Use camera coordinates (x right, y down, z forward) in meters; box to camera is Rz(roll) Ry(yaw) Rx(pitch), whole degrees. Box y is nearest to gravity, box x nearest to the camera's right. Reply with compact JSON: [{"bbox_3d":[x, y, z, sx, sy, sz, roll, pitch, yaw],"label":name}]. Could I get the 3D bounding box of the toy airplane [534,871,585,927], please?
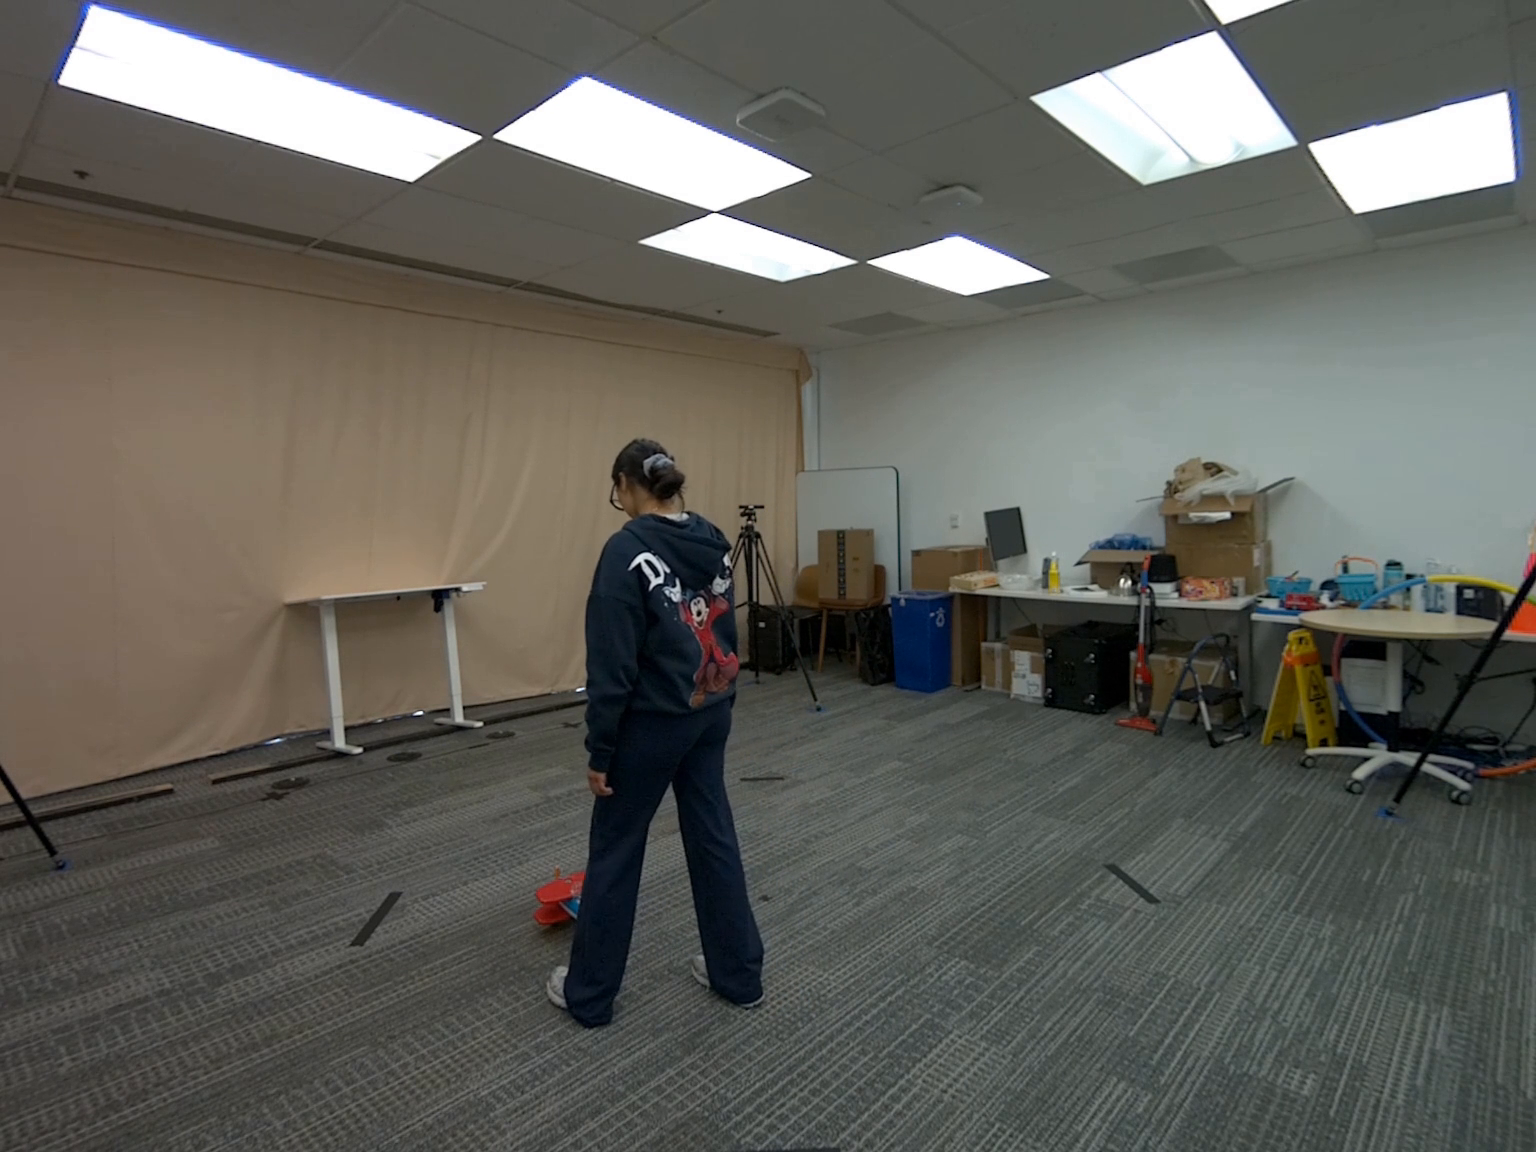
[{"bbox_3d":[-0.619,1.096,2.804,0.264,0.156,0.246,-2,3,19],"label":"toy airplane"}]
